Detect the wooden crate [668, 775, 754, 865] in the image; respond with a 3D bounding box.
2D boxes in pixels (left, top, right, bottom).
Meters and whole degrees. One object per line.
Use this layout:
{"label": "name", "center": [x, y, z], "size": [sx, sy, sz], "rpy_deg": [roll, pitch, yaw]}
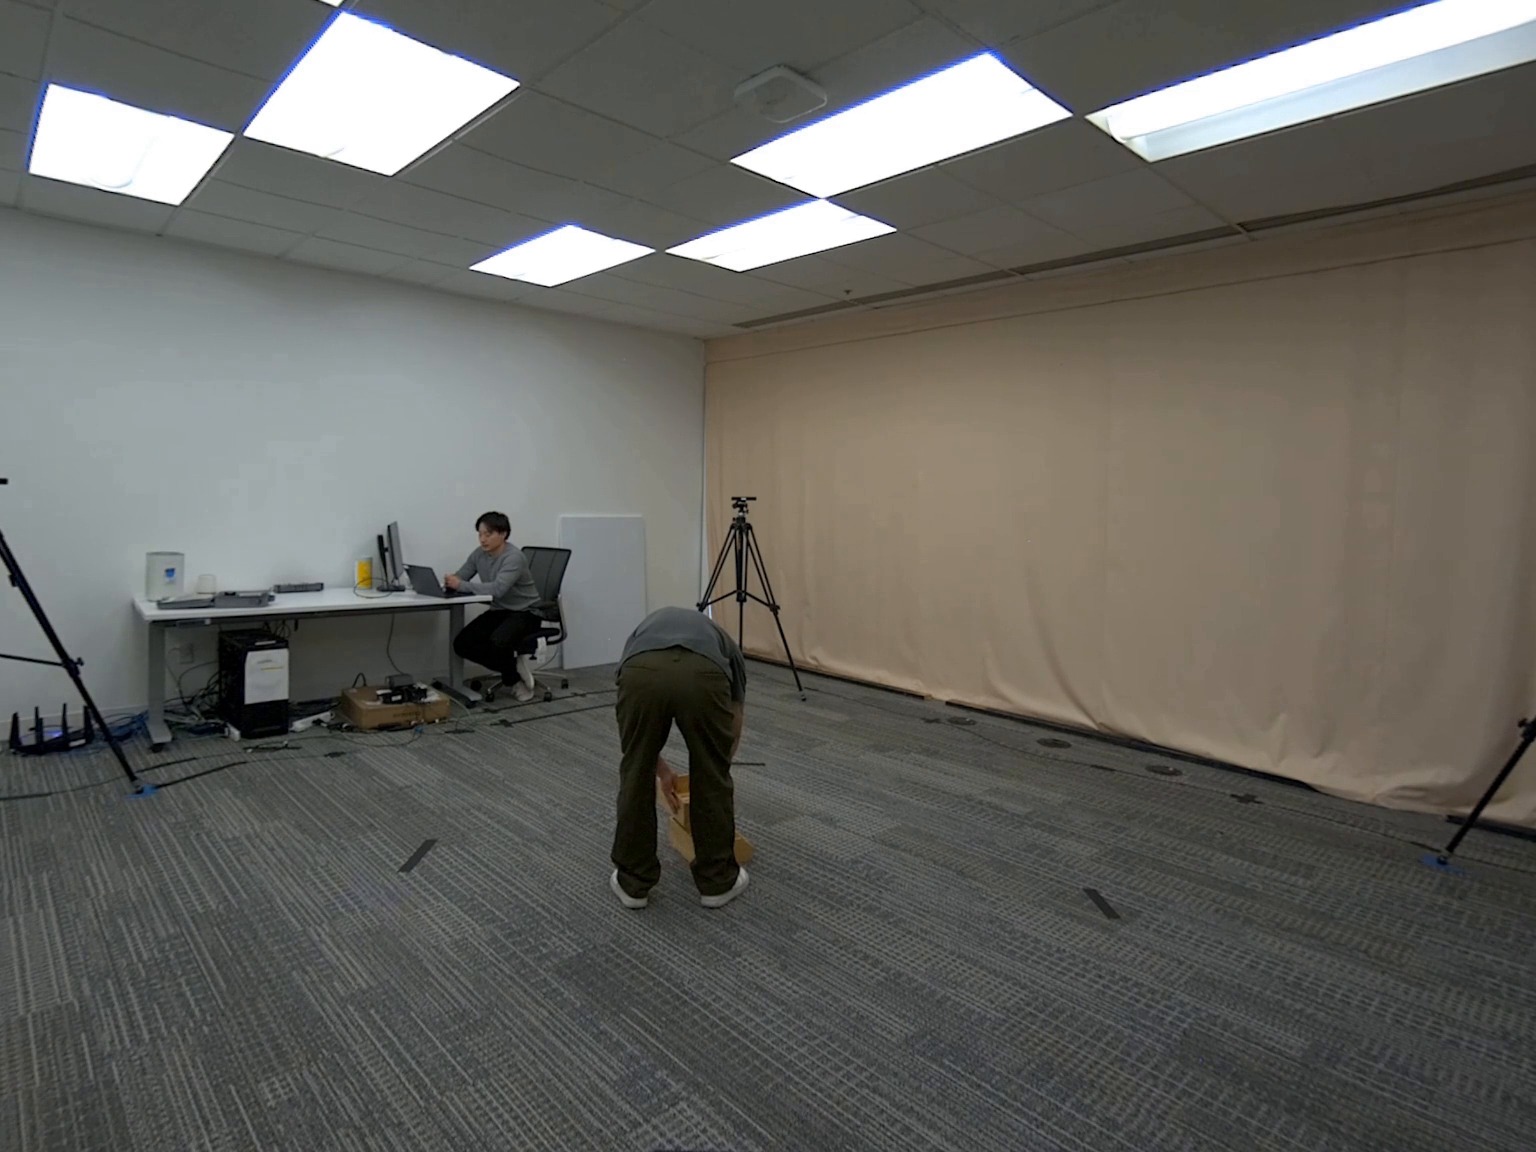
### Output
{"label": "wooden crate", "center": [-0.249, 0.955, 3.322], "size": [0.296, 0.272, 0.331], "rpy_deg": [-1, 5, -26]}
